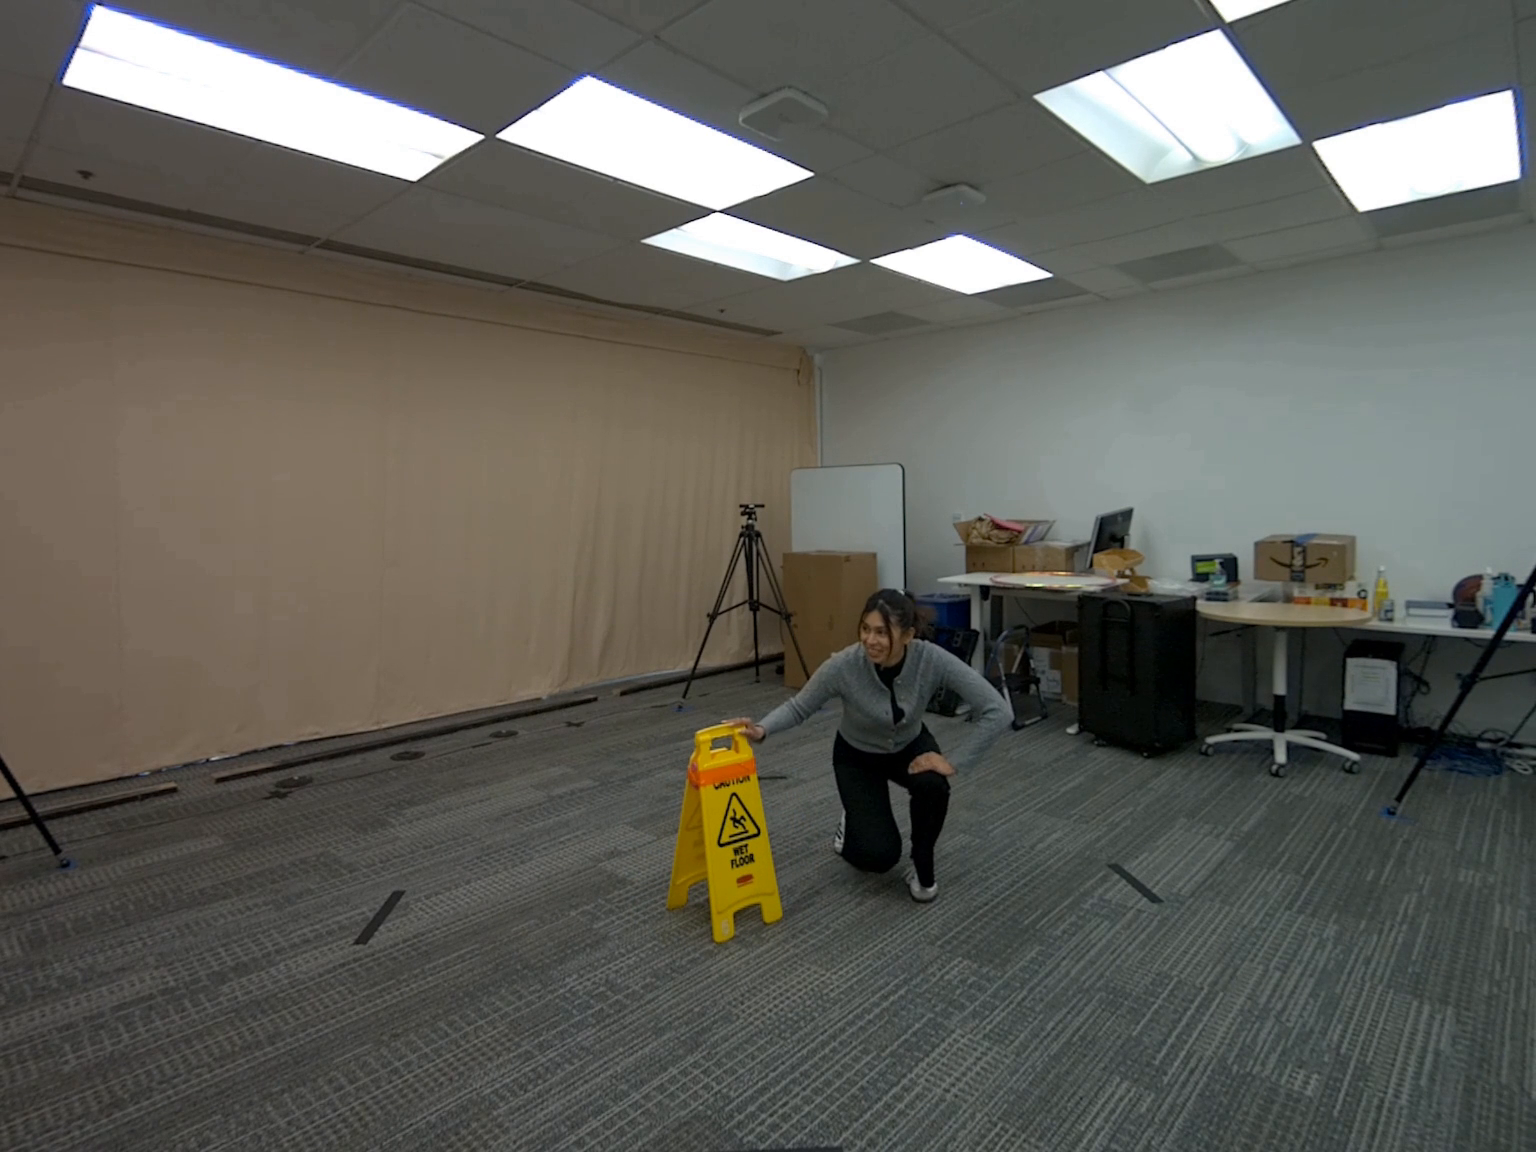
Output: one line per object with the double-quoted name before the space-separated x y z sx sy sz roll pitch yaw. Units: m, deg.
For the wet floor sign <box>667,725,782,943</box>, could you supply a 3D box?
"wet floor sign" -0.156 0.834 2.856 0.274 0.645 0.299 -3 3 -38
